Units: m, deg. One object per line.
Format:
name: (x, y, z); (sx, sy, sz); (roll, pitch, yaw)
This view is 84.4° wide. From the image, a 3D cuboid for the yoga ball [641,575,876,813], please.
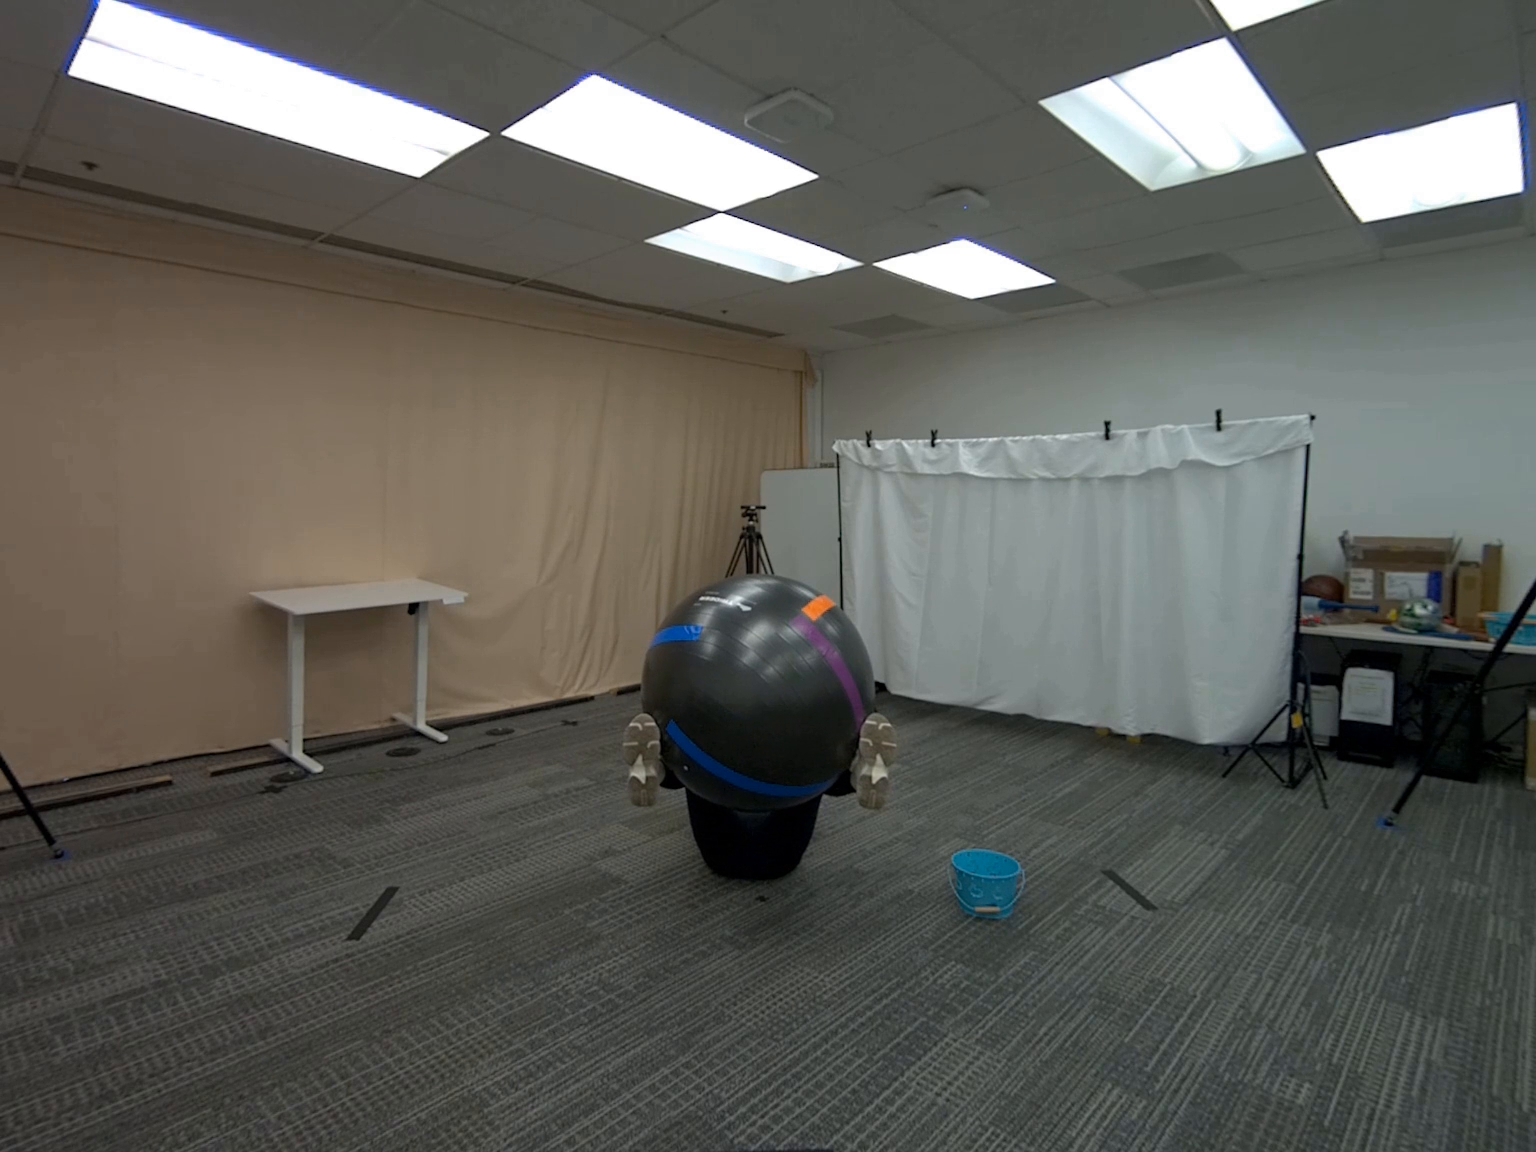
yoga ball: (-0.038, 0.373, 2.742); (0.757, 0.756, 0.760); (0, 4, -2)
